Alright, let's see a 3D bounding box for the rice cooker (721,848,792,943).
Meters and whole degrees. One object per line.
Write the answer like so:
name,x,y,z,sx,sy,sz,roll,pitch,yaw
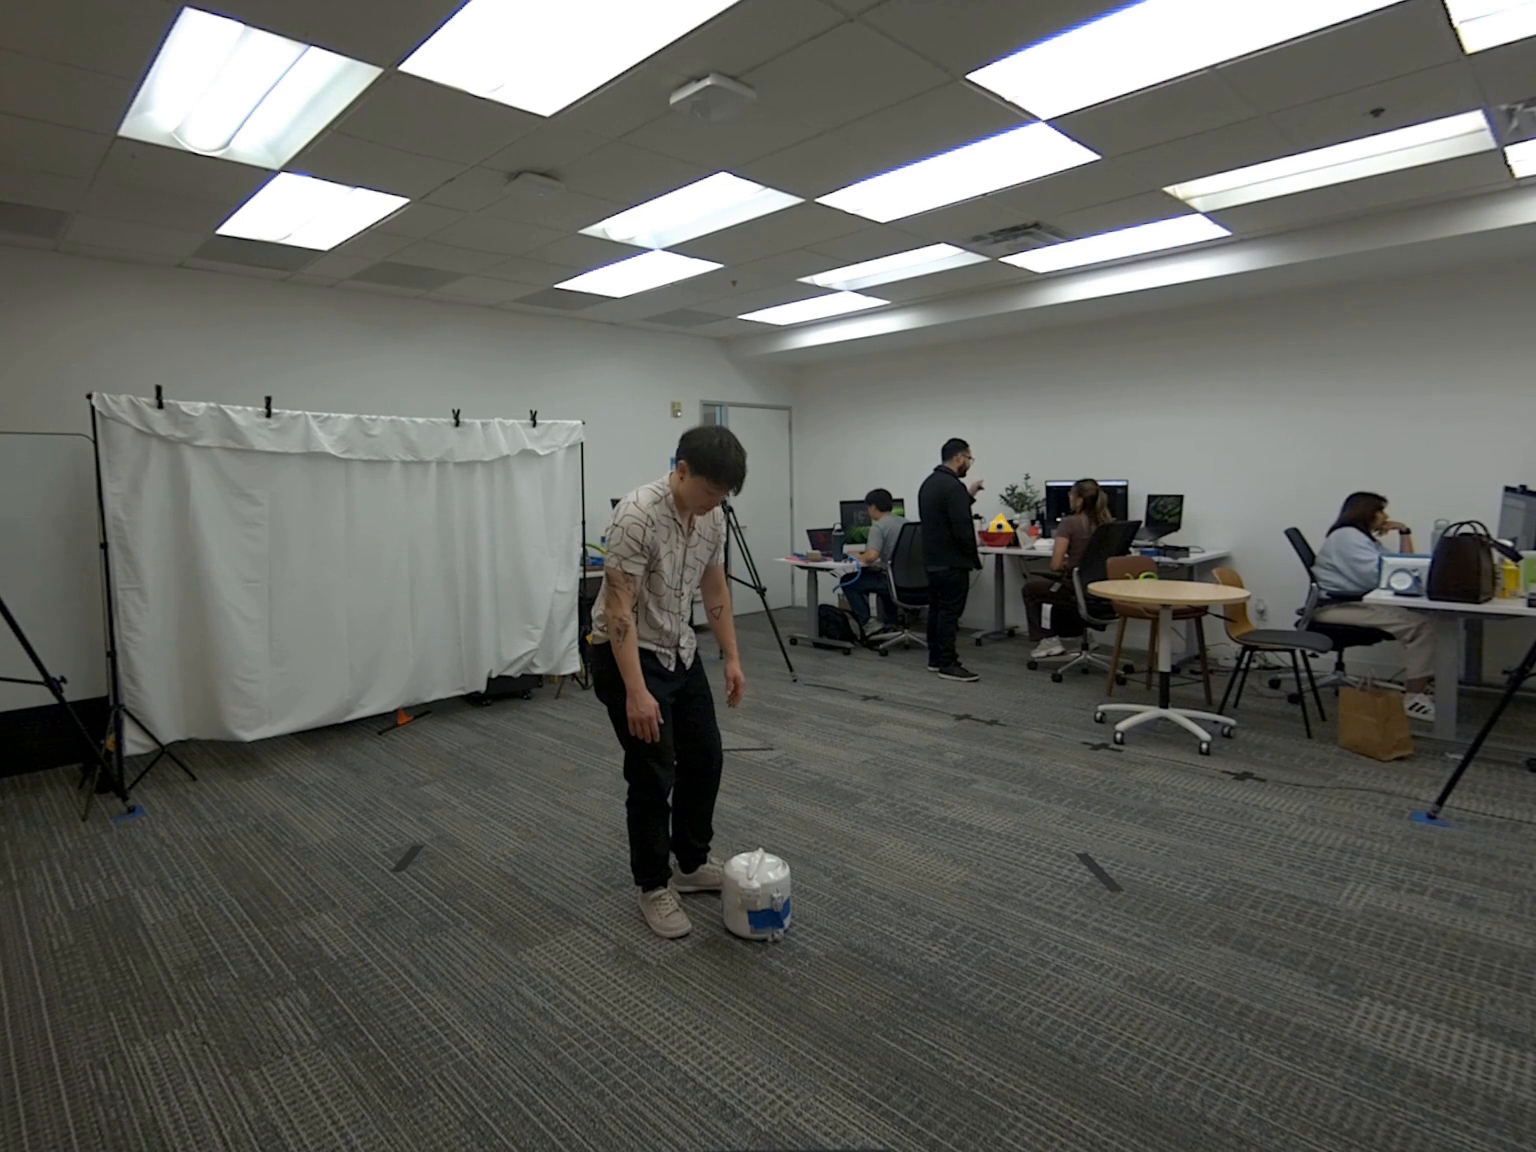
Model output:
rice cooker,-0.034,0.982,2.662,0.221,0.232,0.218,2,4,15
